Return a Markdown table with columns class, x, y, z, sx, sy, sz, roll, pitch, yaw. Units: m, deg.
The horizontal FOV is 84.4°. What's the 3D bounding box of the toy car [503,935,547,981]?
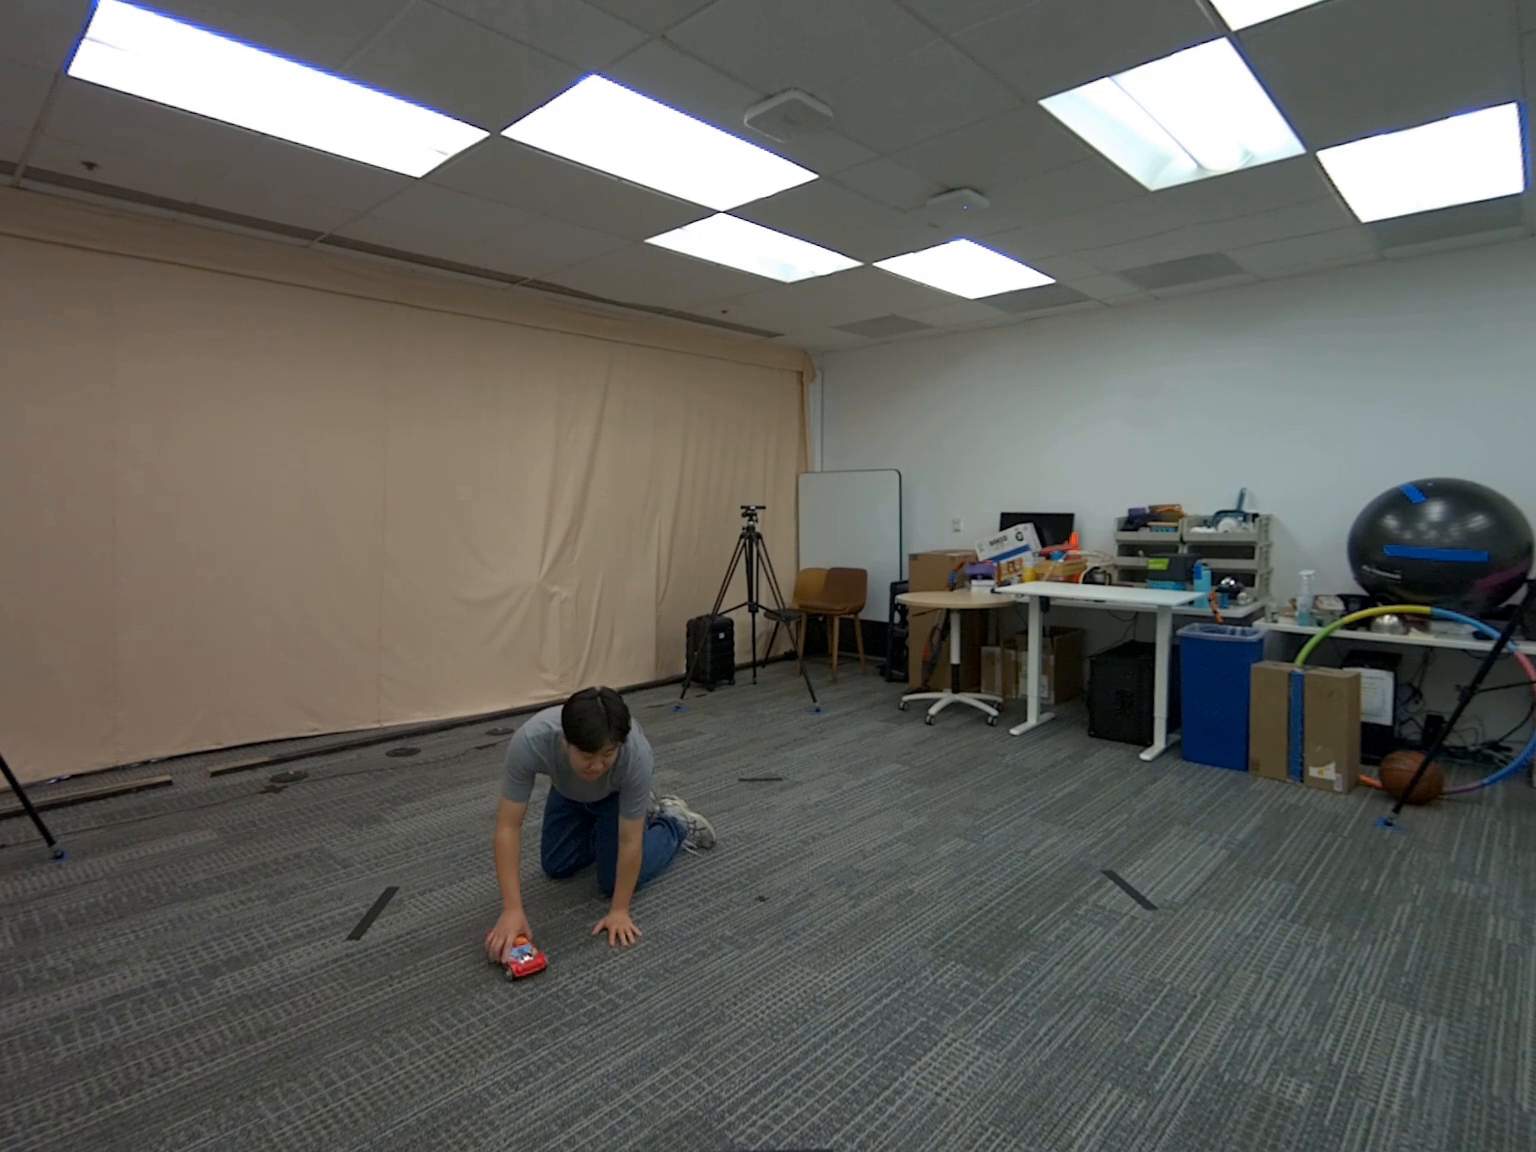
| class | x | y | z | sx | sy | sz | roll | pitch | yaw |
| --- | --- | --- | --- | --- | --- | --- | --- | --- | --- |
| toy car | -0.789 | 1.148 | 2.594 | 0.126 | 0.082 | 0.264 | -6 | 17 | -36 |
